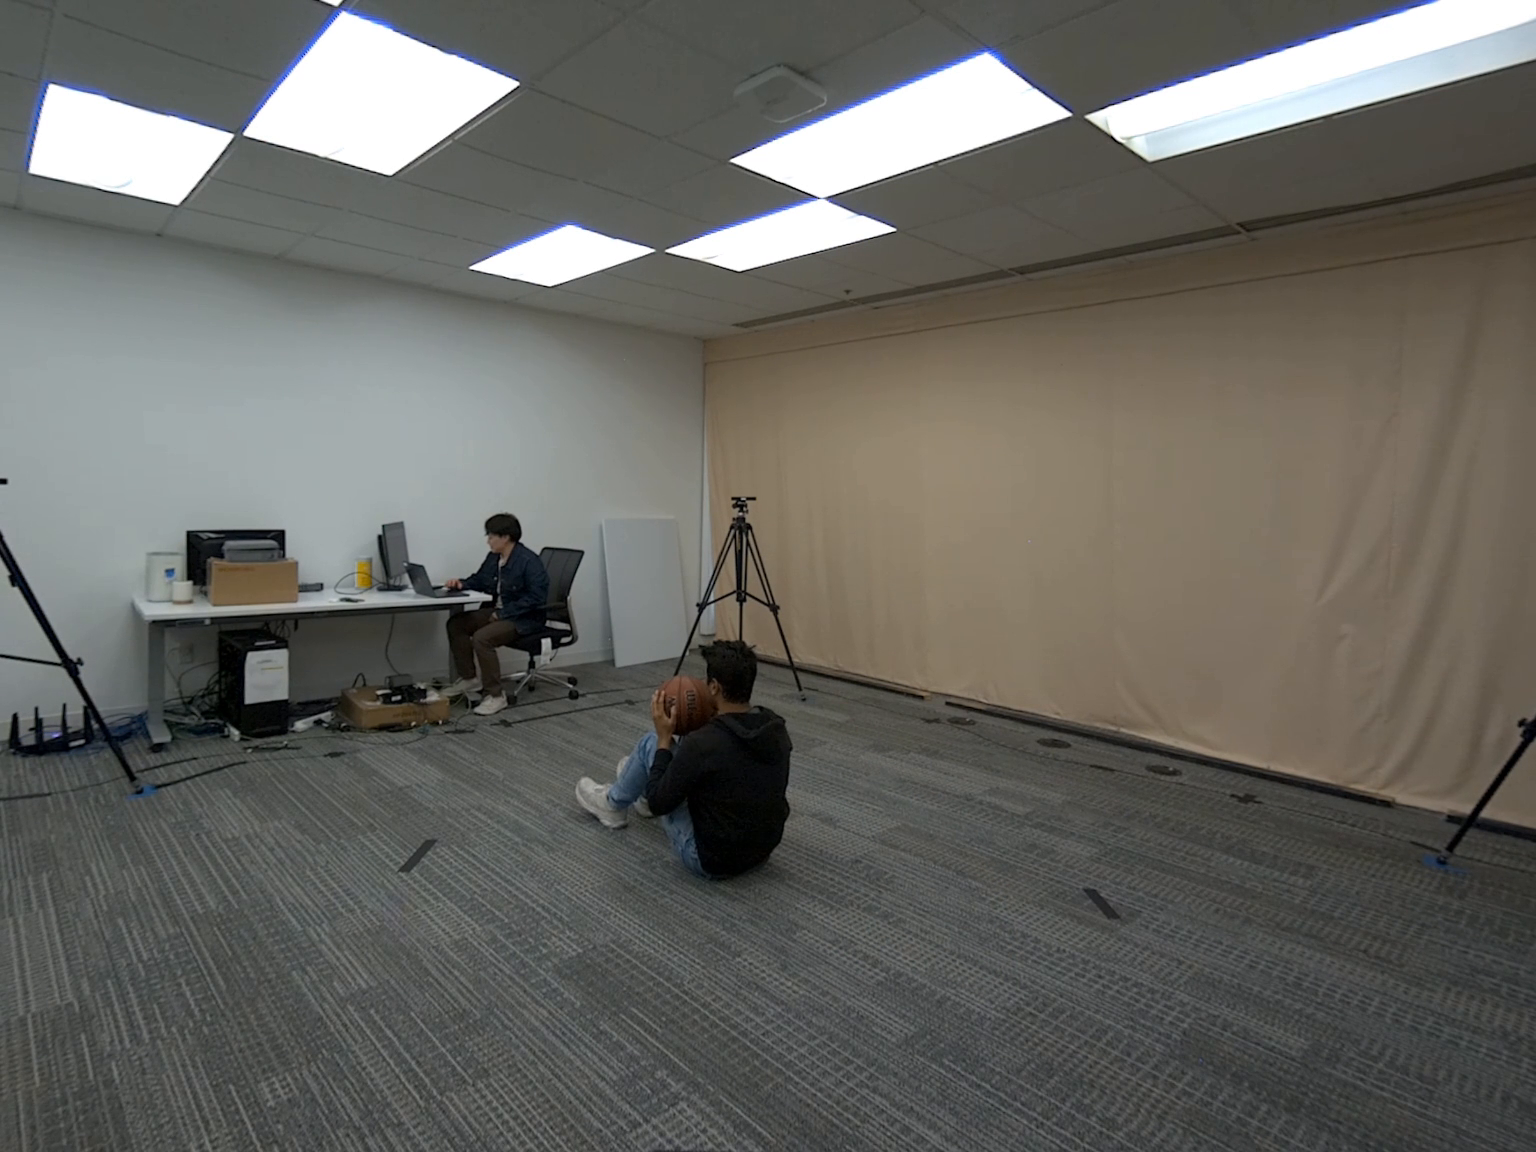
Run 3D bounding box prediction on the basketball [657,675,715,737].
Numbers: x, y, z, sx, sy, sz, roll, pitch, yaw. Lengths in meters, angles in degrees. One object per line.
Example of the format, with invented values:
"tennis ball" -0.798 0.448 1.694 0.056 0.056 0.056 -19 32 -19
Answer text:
"basketball" -0.331 0.508 3.334 0.236 0.235 0.237 1 4 -1
